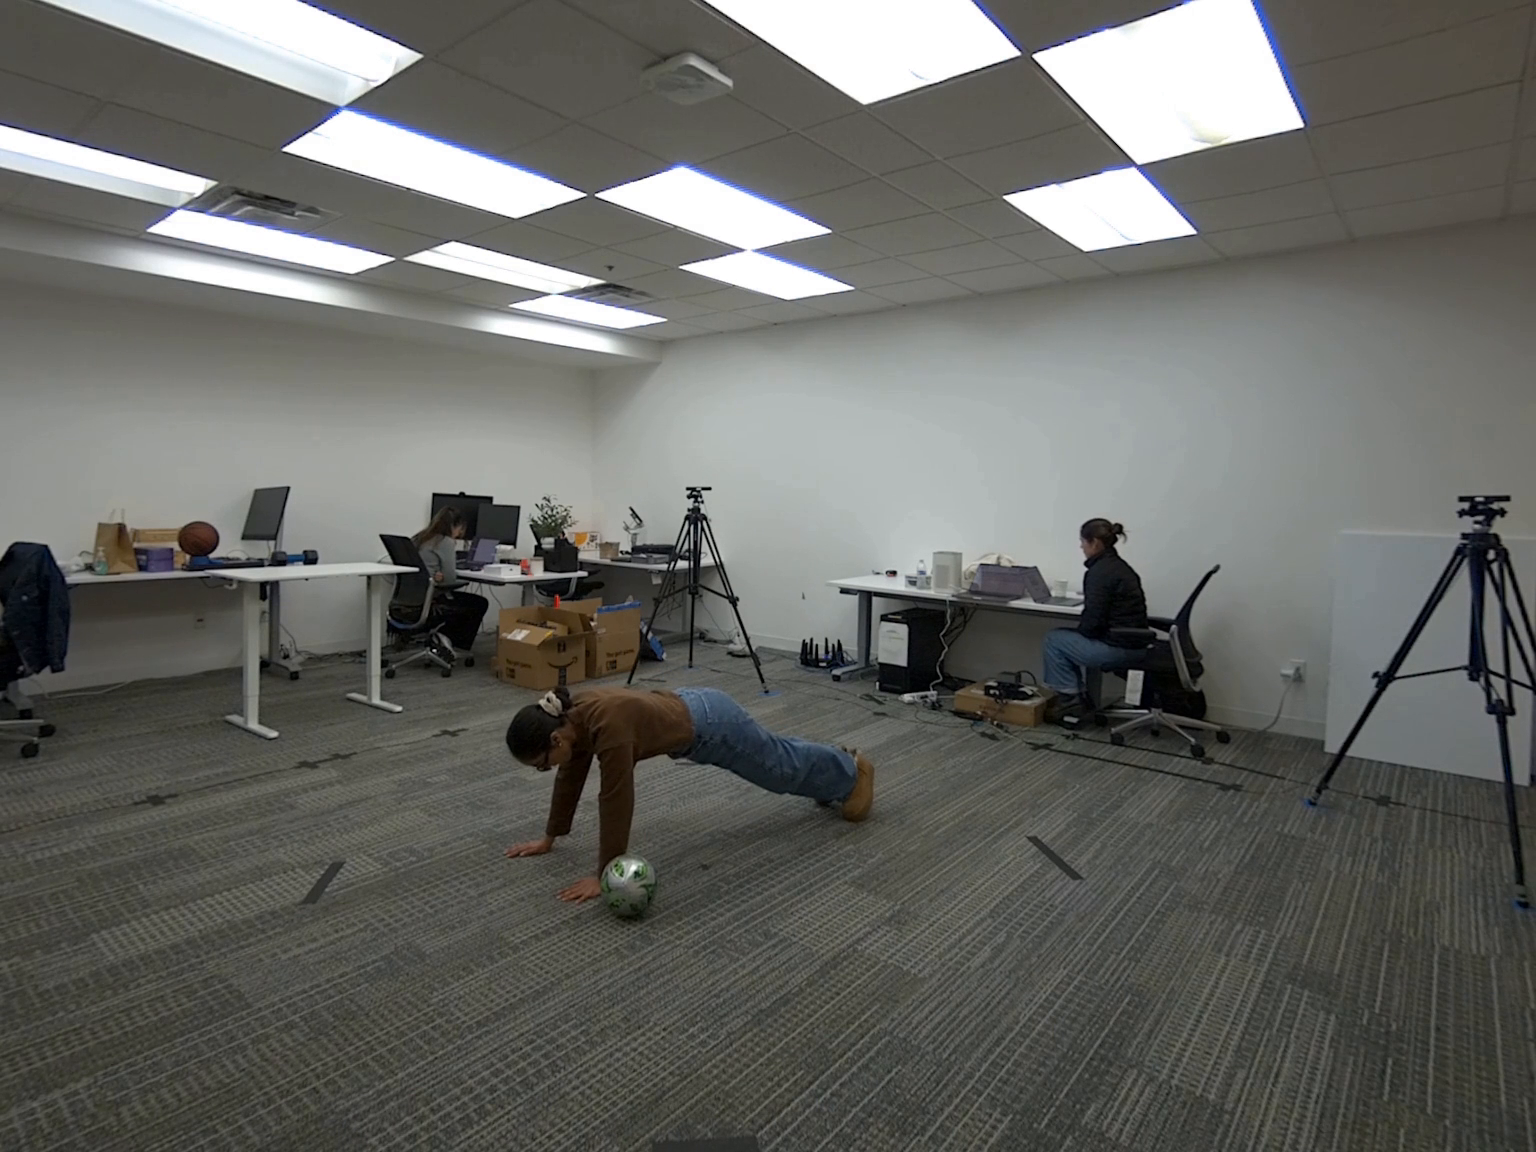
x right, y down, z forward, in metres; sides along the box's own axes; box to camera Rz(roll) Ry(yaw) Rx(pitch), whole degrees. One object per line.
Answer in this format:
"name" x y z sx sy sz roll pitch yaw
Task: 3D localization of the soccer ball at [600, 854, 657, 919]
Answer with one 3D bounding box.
"soccer ball" -0.457 0.998 2.764 0.187 0.187 0.188 1 4 -2
